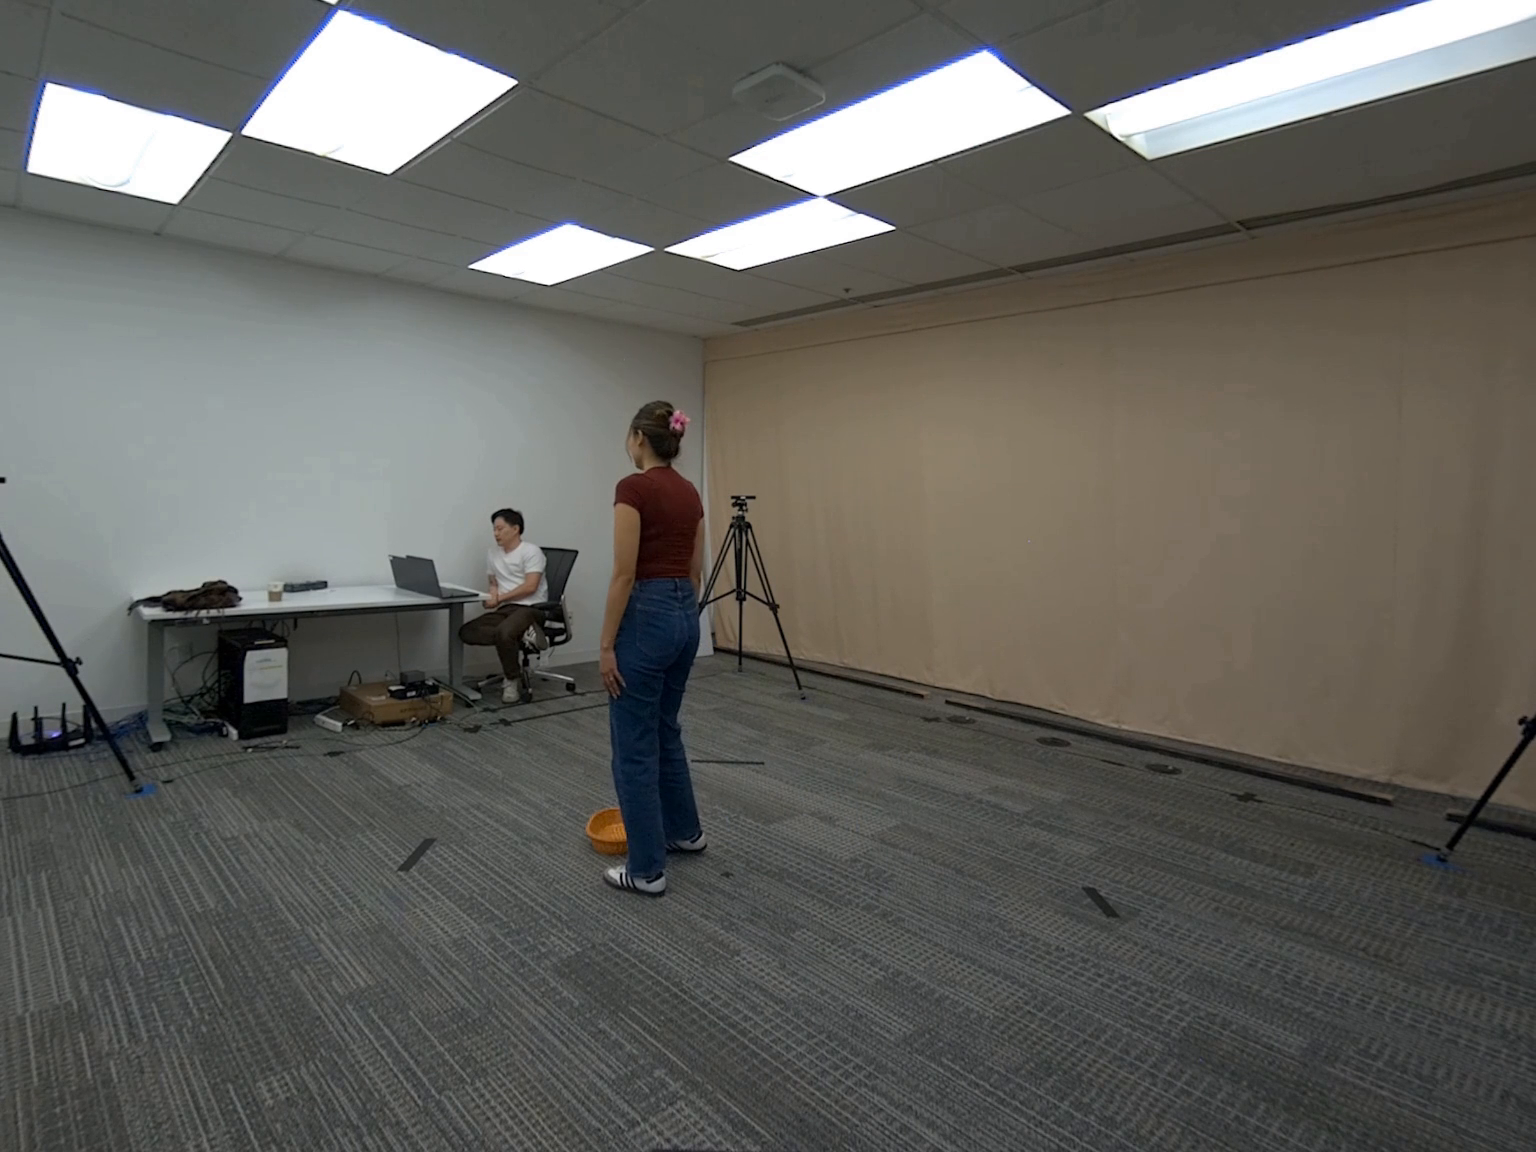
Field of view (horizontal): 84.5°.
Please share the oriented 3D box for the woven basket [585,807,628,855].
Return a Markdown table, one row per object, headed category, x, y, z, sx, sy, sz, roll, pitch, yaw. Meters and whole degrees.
| category | x | y | z | sx | sy | sz | roll | pitch | yaw |
| --- | --- | --- | --- | --- | --- | --- | --- | --- | --- |
| woven basket | -0.611 | 1.028 | 3.391 | 0.253 | 0.073 | 0.350 | 3 | 5 | 2 |
